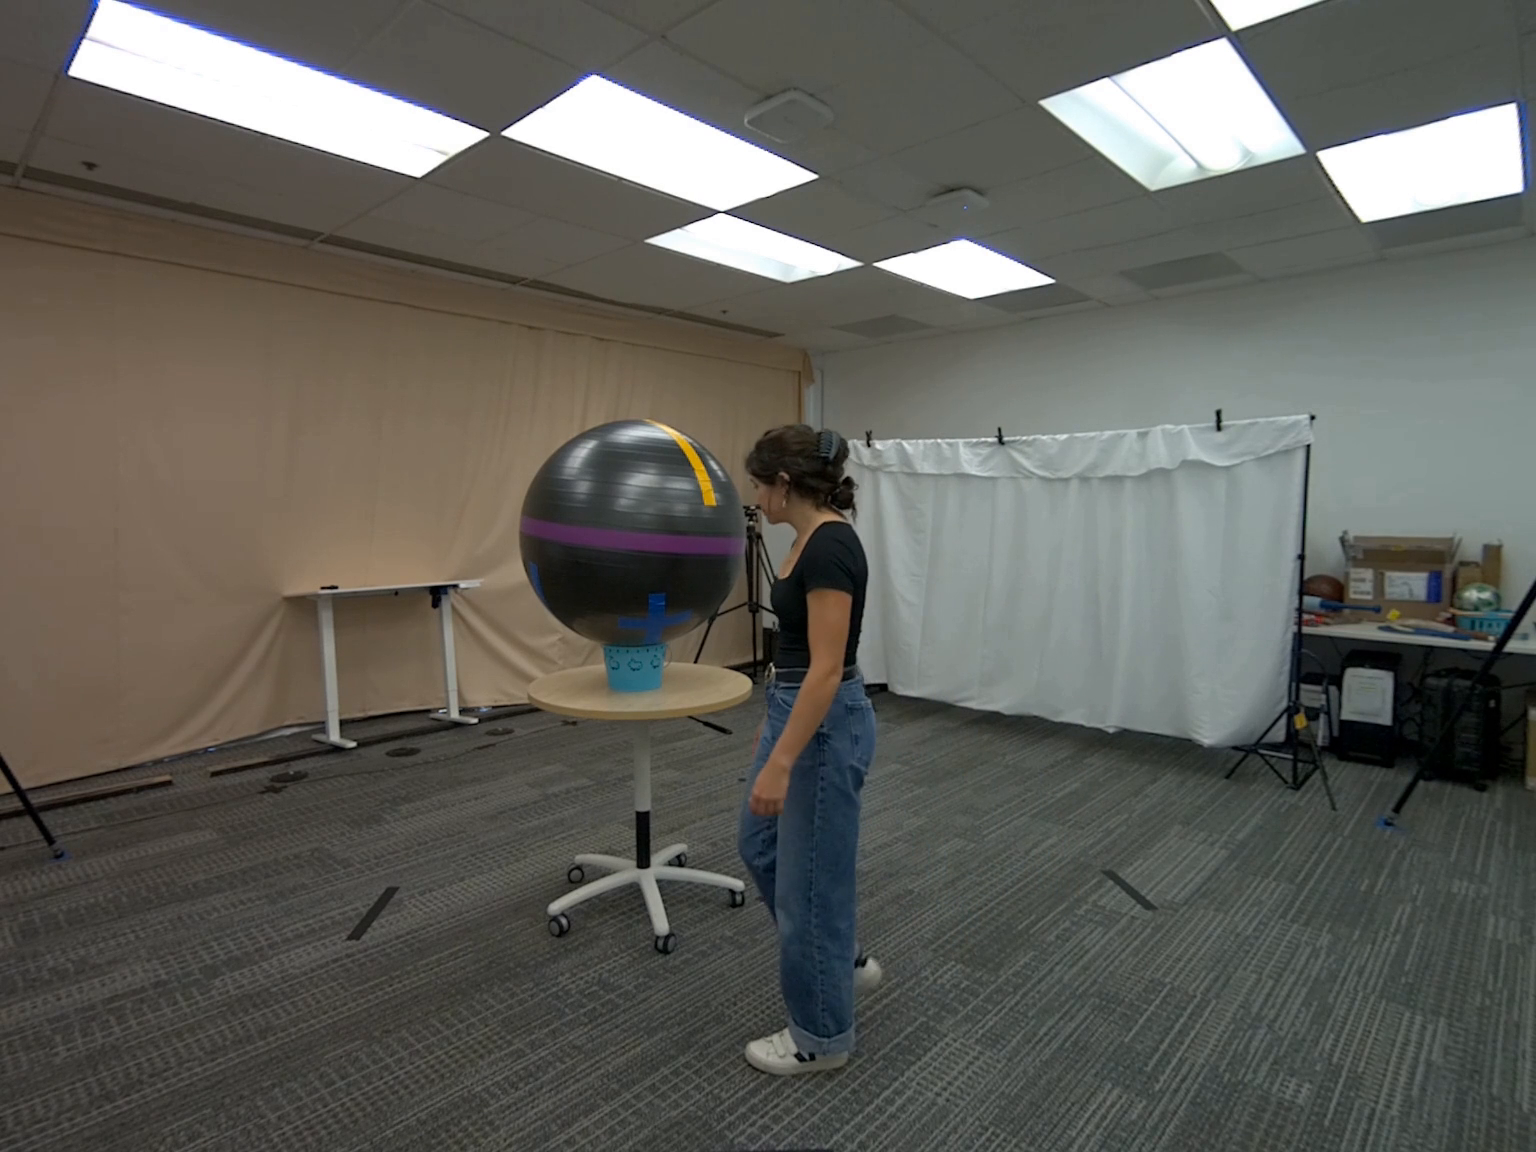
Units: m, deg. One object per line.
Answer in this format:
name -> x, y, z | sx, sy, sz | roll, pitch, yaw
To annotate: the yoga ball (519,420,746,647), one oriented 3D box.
yoga ball -> -0.466, -0.138, 2.842 | 0.757, 0.756, 0.760 | 0, 4, -2
